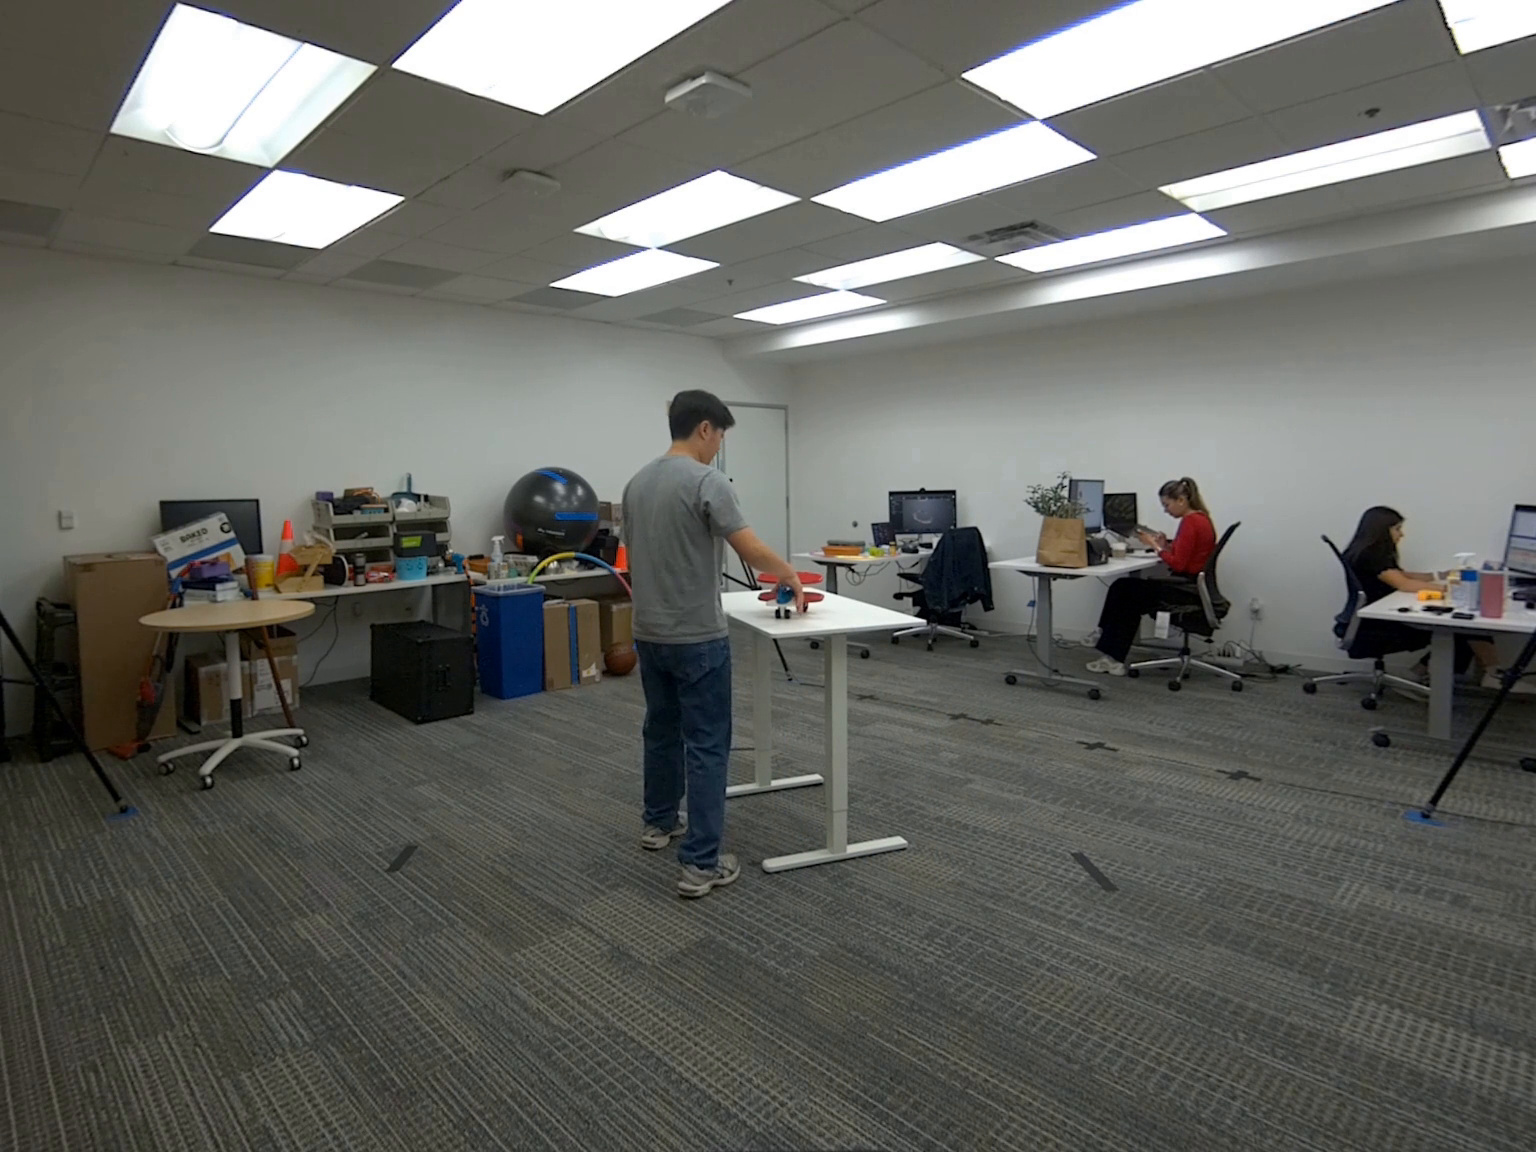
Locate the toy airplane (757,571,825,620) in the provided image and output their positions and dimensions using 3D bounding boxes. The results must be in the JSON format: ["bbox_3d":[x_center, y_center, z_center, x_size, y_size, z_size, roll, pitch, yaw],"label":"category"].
[{"bbox_3d":[0.098,0.068,3.233,0.248,0.156,0.263,-3,6,-14],"label":"toy airplane"}]
